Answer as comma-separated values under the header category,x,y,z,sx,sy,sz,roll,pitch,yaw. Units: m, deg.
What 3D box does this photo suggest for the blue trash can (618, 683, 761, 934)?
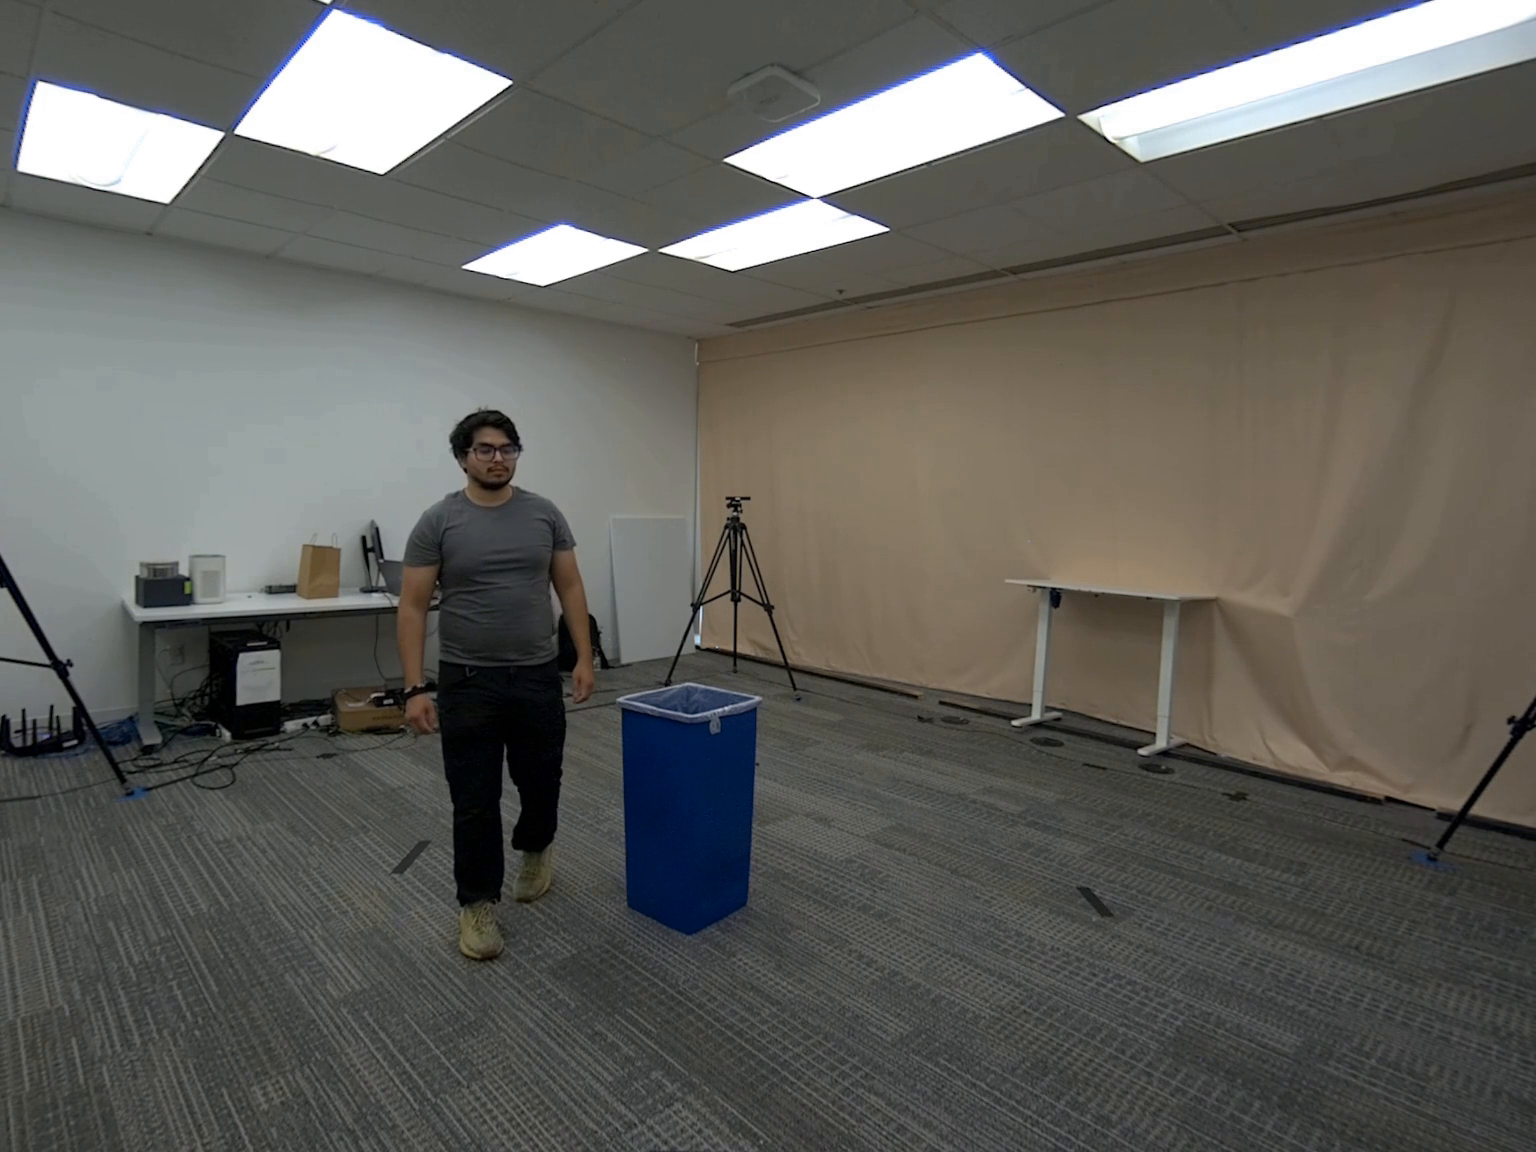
category,x,y,z,sx,sy,sz,roll,pitch,yaw
blue trash can,-0.279,0.768,2.864,0.383,0.712,0.370,4,4,39
